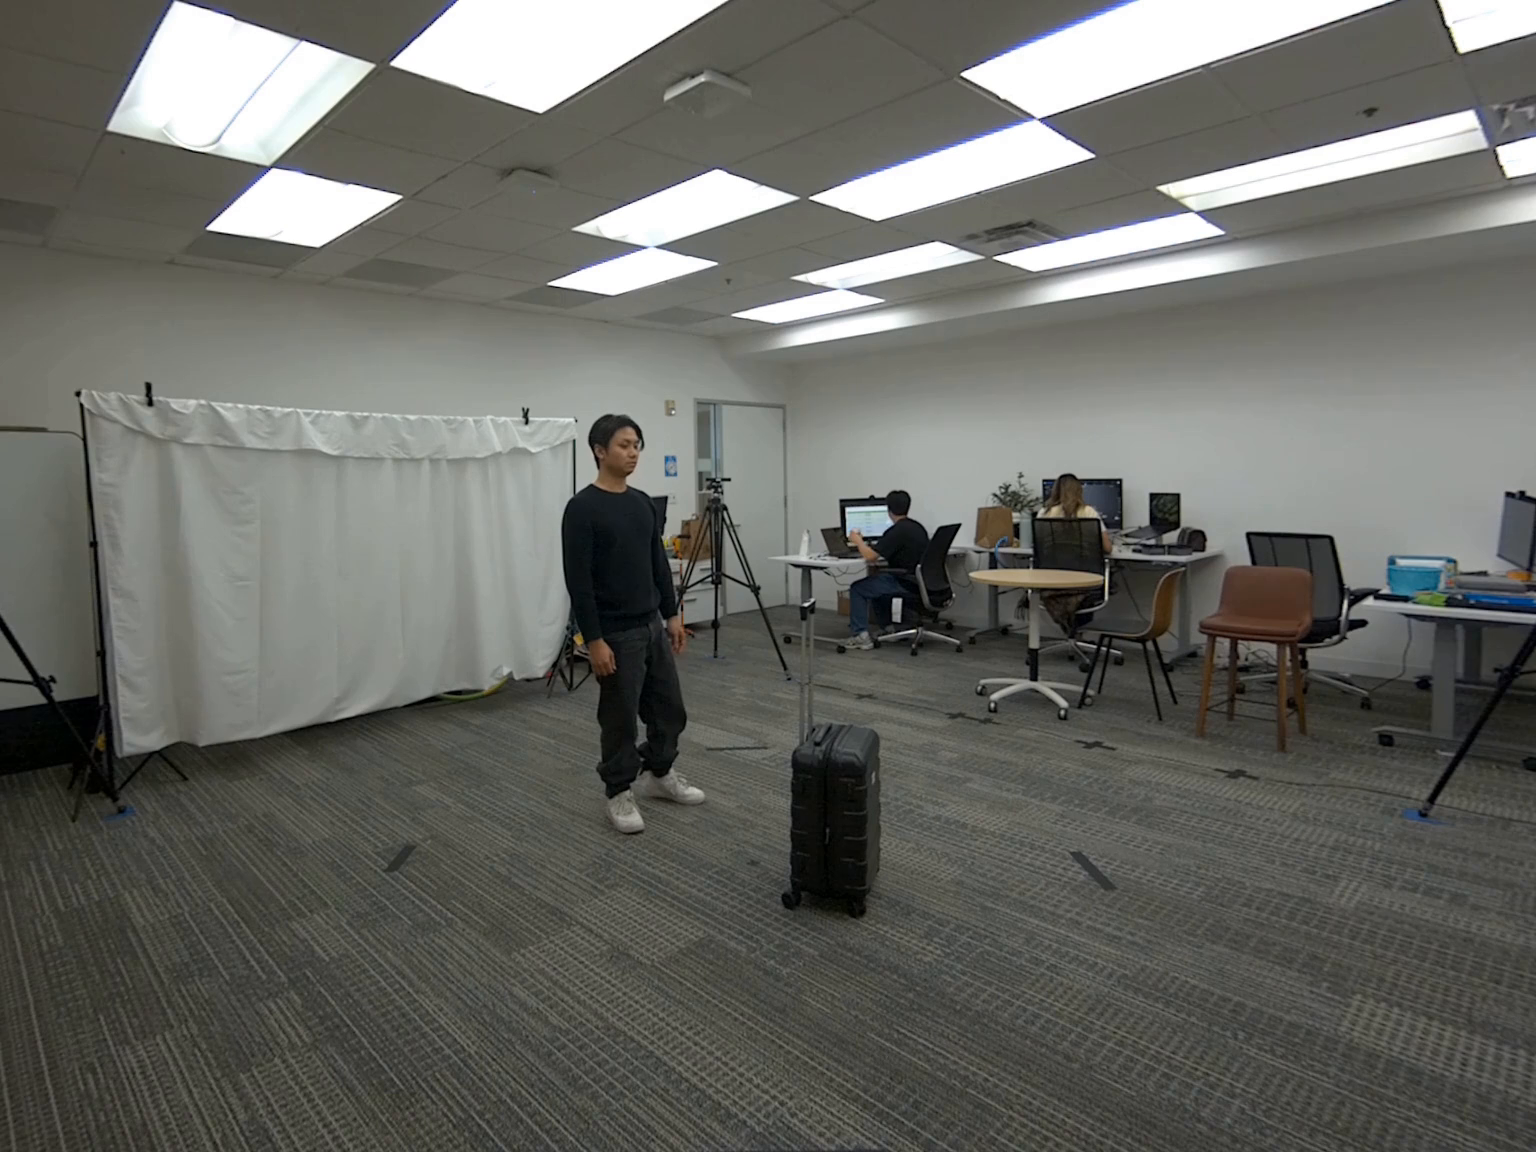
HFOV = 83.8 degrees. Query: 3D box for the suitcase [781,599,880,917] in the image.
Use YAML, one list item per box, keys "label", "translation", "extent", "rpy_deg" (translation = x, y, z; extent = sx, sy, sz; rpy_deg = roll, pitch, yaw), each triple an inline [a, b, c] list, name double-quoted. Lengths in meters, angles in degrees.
- label: "suitcase"
  translation: [0.241, 0.590, 2.845]
  extent: [0.261, 0.974, 0.380]
  rpy_deg: [4, 6, 14]
